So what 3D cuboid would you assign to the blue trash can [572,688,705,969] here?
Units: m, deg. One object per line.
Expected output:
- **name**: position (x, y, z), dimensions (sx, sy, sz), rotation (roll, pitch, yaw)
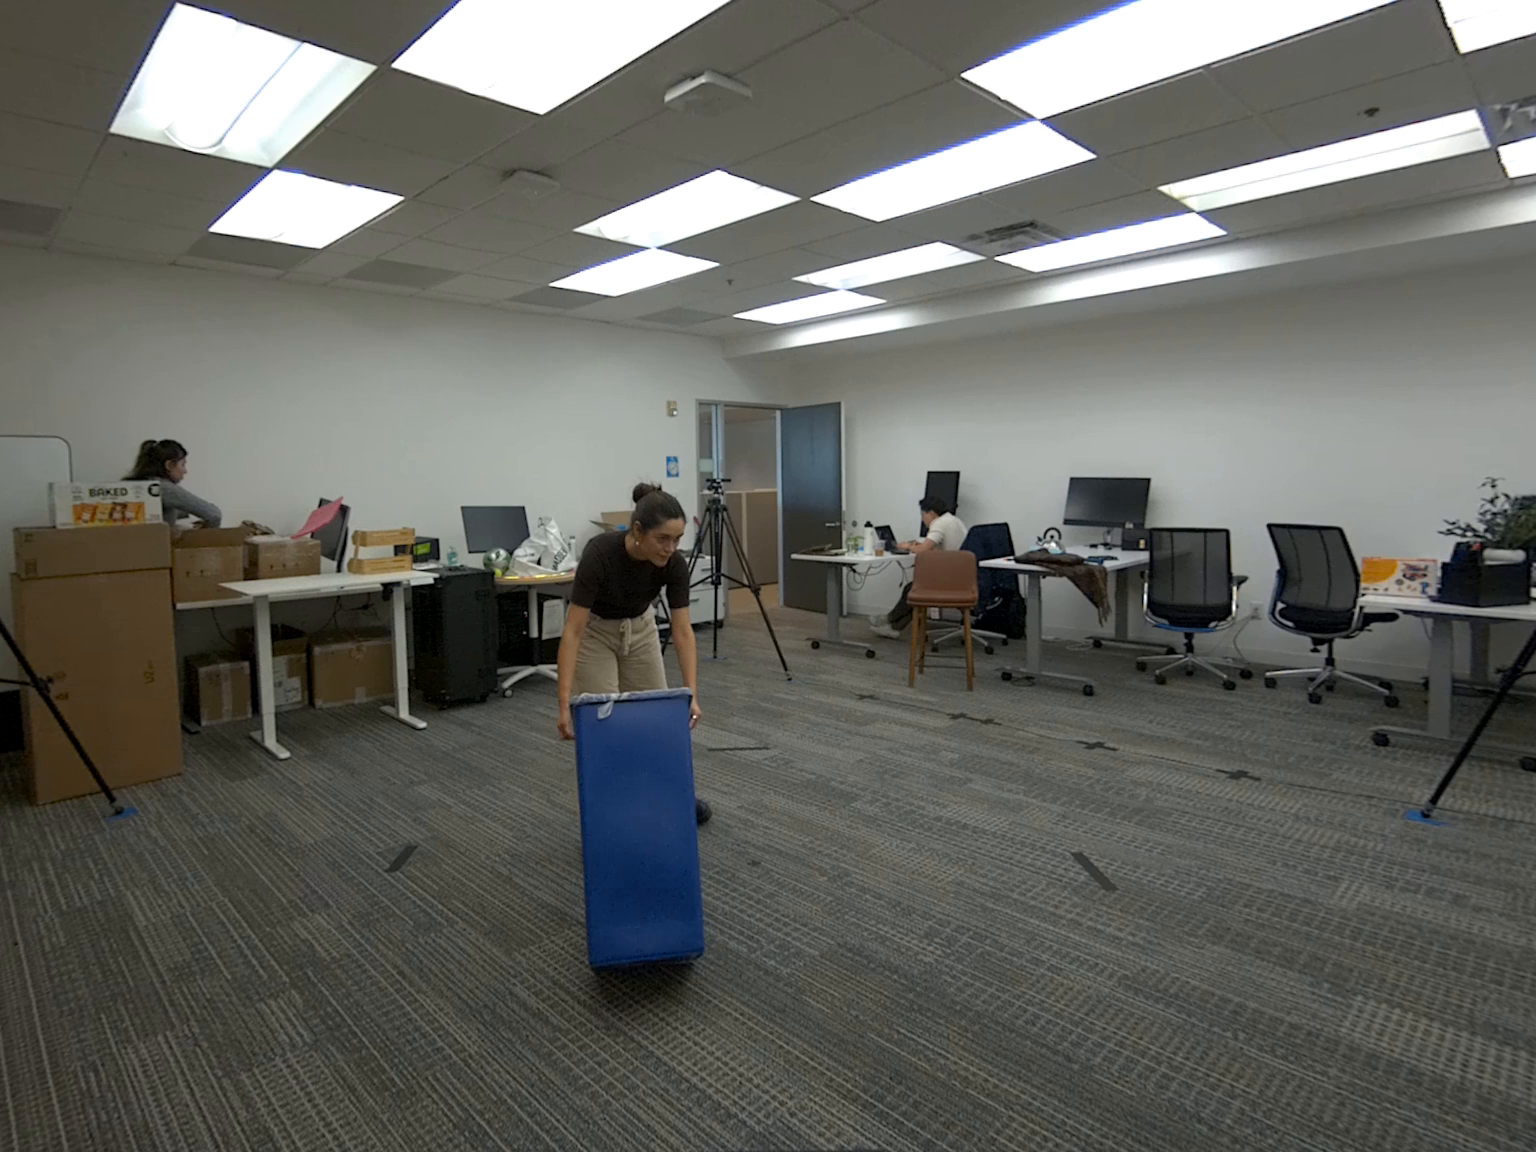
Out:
- **blue trash can**: position (-0.379, 0.744, 2.524), dimensions (0.374, 0.732, 0.368), rotation (-2, -28, -11)
